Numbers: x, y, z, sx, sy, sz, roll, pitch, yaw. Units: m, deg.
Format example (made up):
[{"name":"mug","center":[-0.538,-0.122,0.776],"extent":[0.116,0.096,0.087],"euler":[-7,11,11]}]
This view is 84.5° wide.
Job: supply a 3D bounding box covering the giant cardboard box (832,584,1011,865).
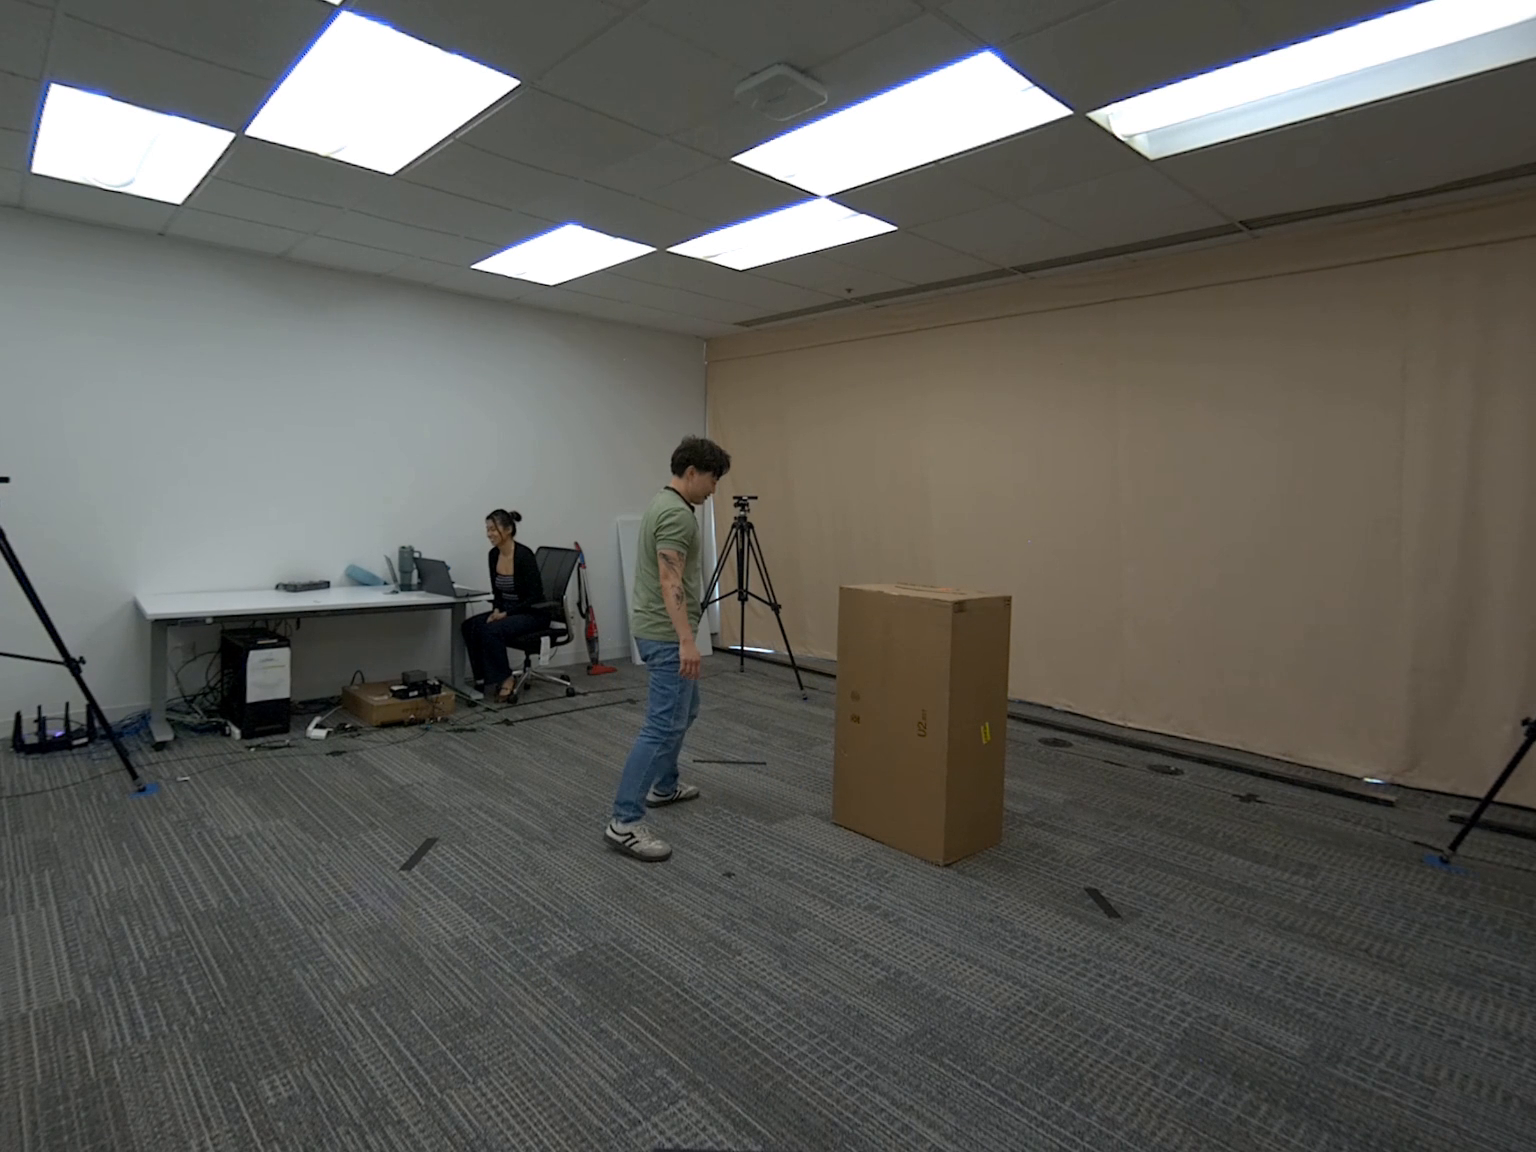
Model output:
[{"name":"giant cardboard box","center":[0.629,0.572,3.543],"extent":[0.416,1.024,0.592],"euler":[0,4,-42]}]
